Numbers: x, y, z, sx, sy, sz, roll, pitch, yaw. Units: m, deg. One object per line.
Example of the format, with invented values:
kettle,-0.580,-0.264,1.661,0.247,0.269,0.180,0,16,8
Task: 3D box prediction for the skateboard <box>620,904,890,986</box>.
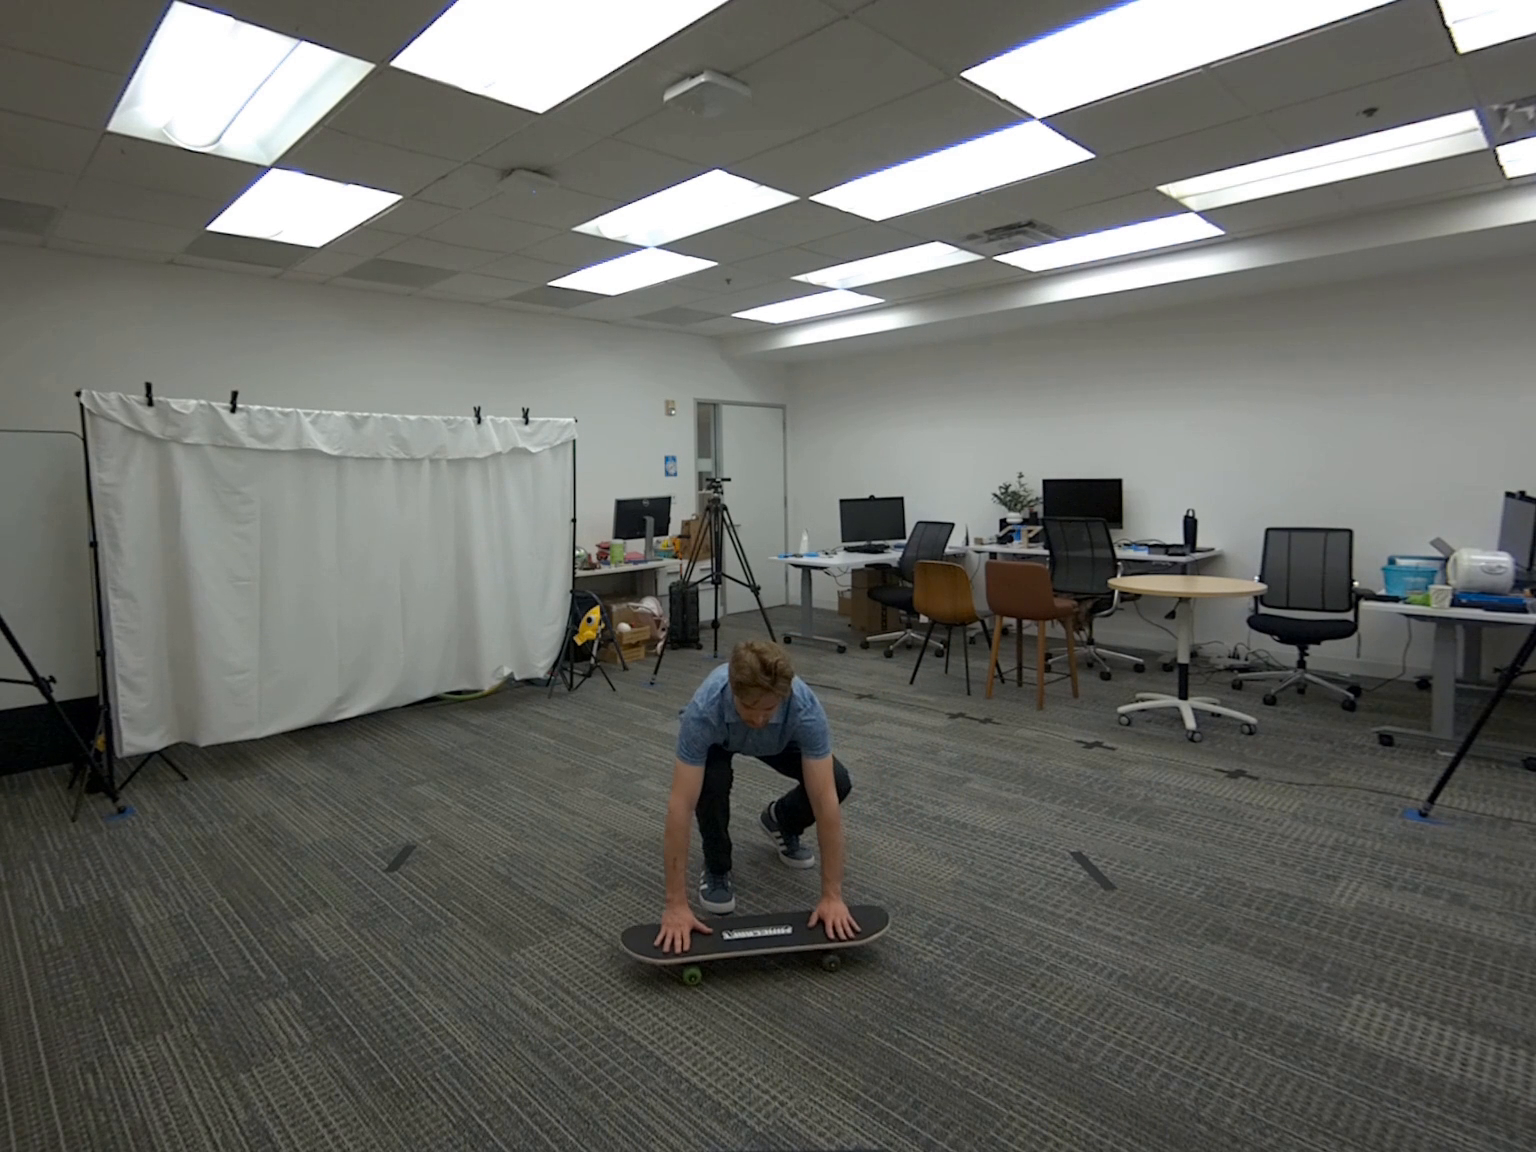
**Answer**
skateboard,-0.030,1.056,2.478,0.780,0.110,0.196,-3,8,-8
